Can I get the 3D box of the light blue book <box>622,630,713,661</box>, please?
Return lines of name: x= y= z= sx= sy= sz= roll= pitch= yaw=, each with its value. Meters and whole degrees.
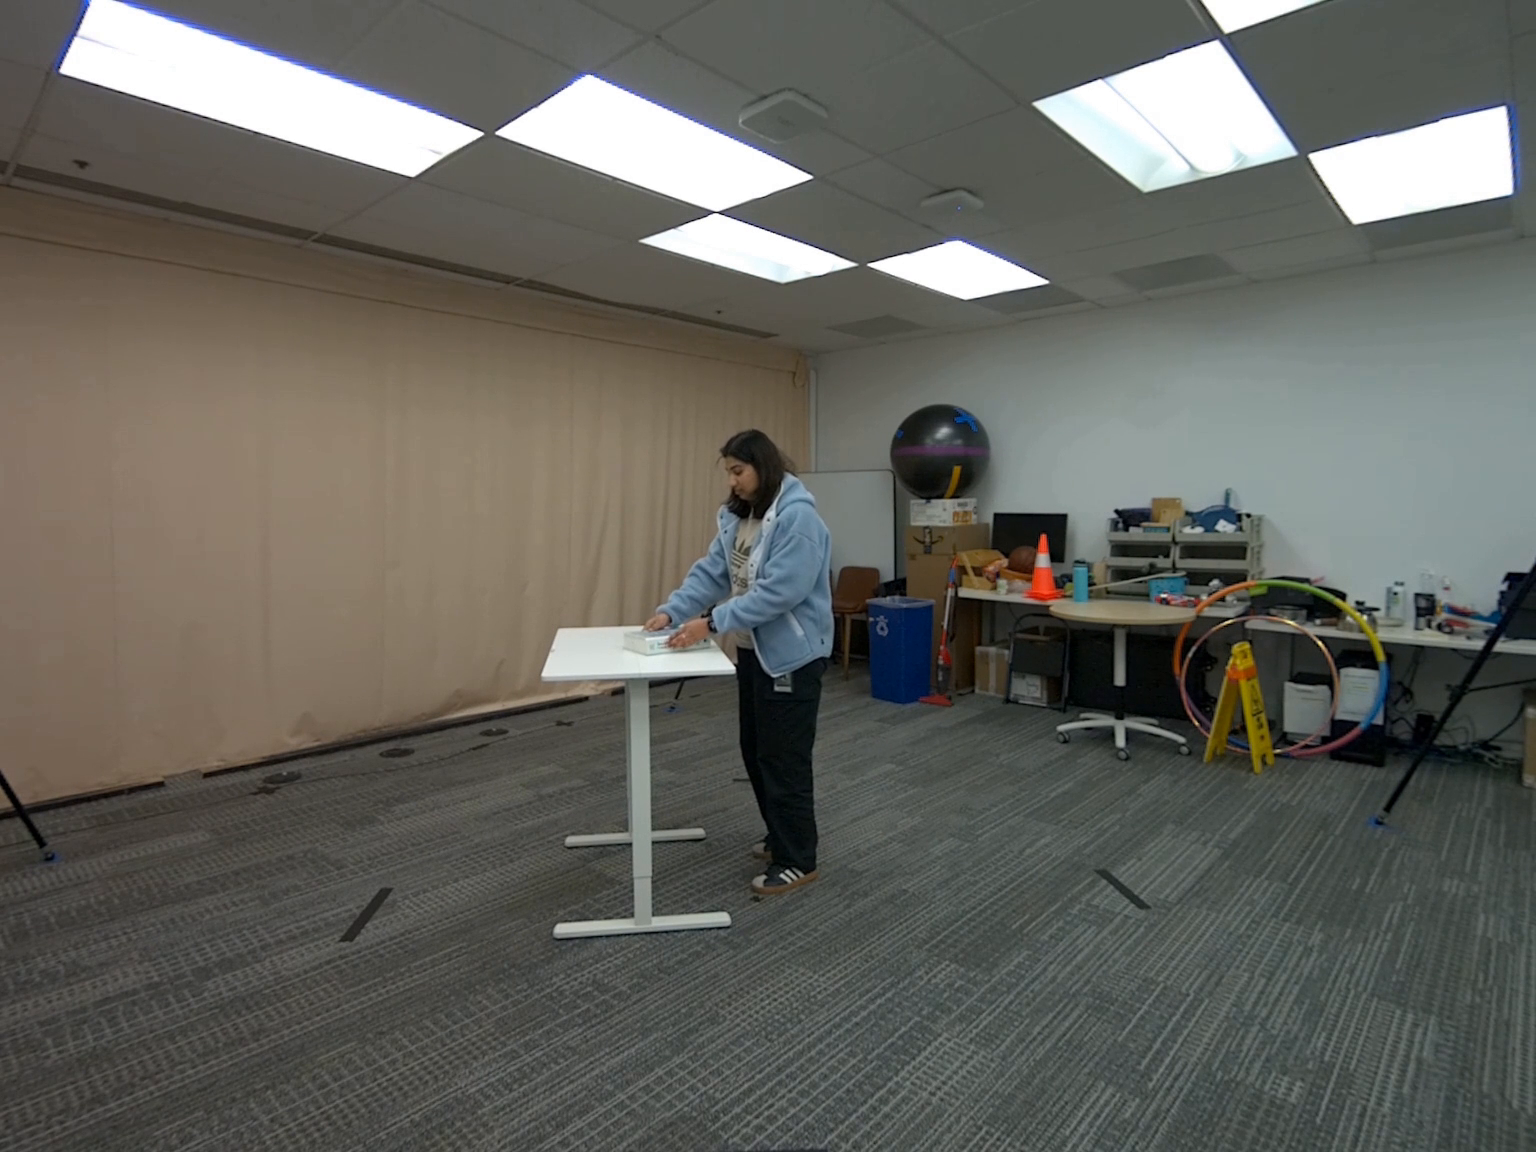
light blue book: x=-0.359 y=0.239 z=3.015 sx=0.253 sy=0.059 sz=0.197 roll=-4 pitch=7 yaw=-35
